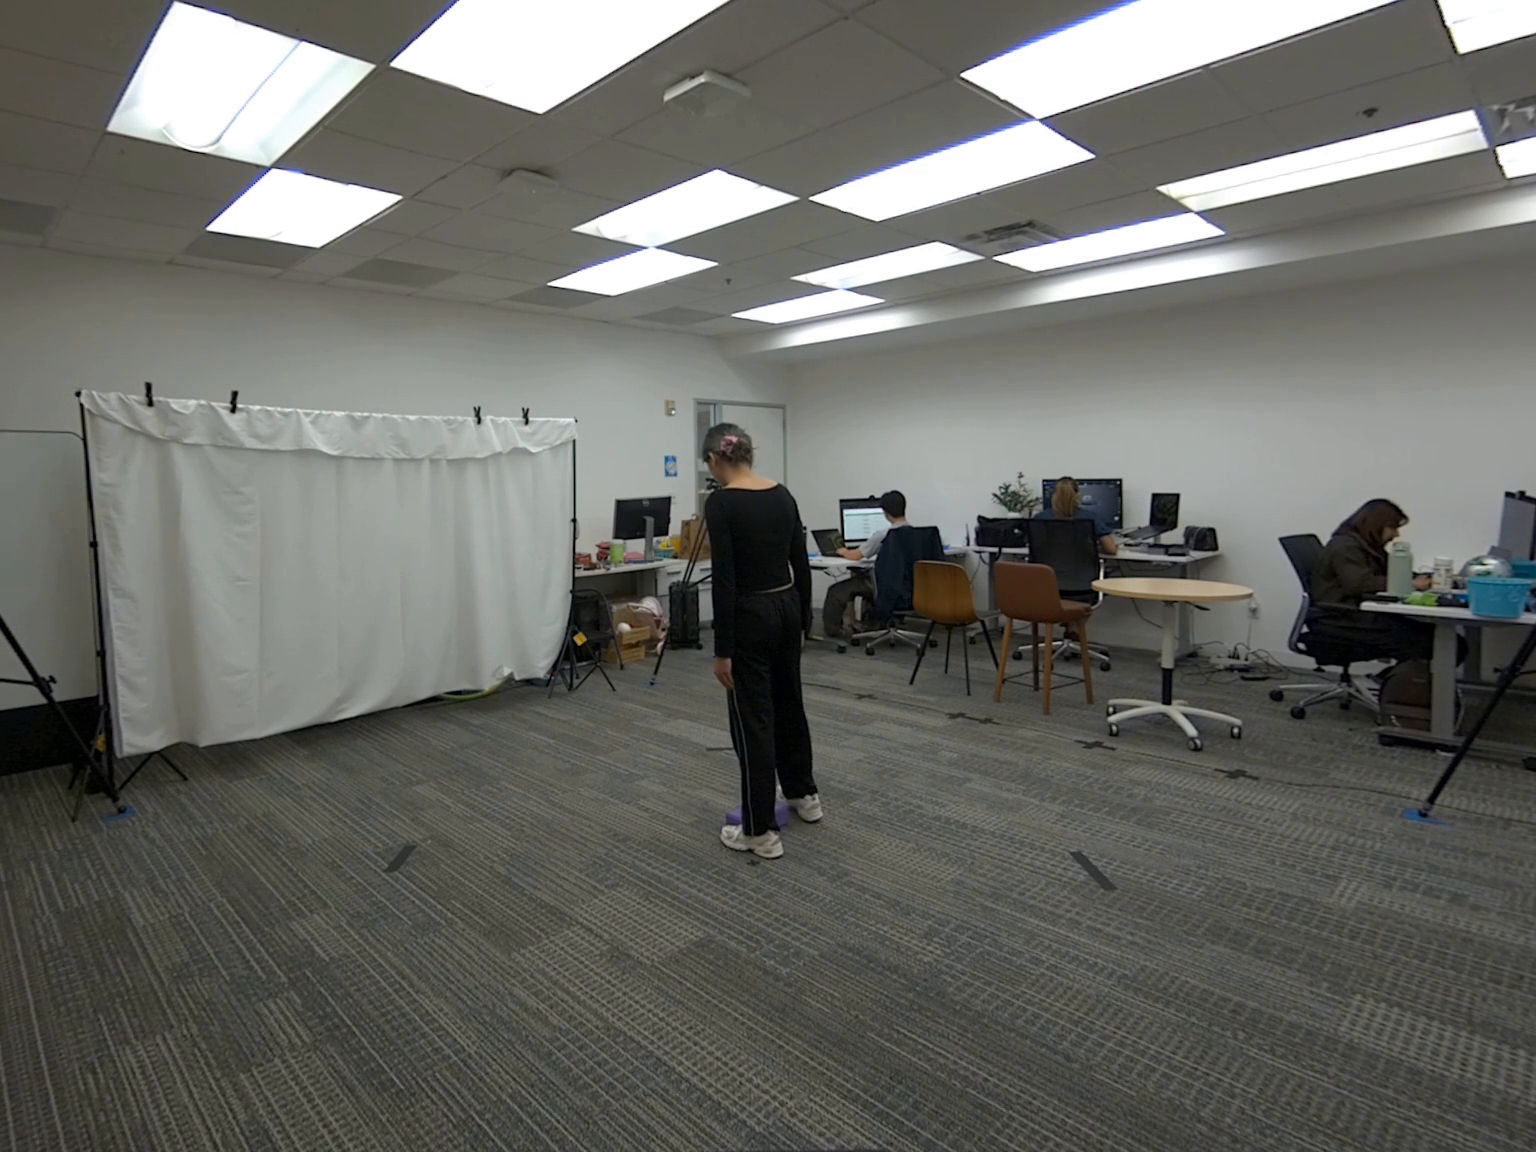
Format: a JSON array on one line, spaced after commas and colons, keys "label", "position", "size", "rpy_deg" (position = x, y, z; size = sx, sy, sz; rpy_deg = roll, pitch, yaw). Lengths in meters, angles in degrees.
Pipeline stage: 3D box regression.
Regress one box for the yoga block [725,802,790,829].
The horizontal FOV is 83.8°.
[{"label": "yoga block", "position": [-0.034, 0.963, 3.417], "size": [0.153, 0.076, 0.223], "rpy_deg": [5, 8, 41]}]
